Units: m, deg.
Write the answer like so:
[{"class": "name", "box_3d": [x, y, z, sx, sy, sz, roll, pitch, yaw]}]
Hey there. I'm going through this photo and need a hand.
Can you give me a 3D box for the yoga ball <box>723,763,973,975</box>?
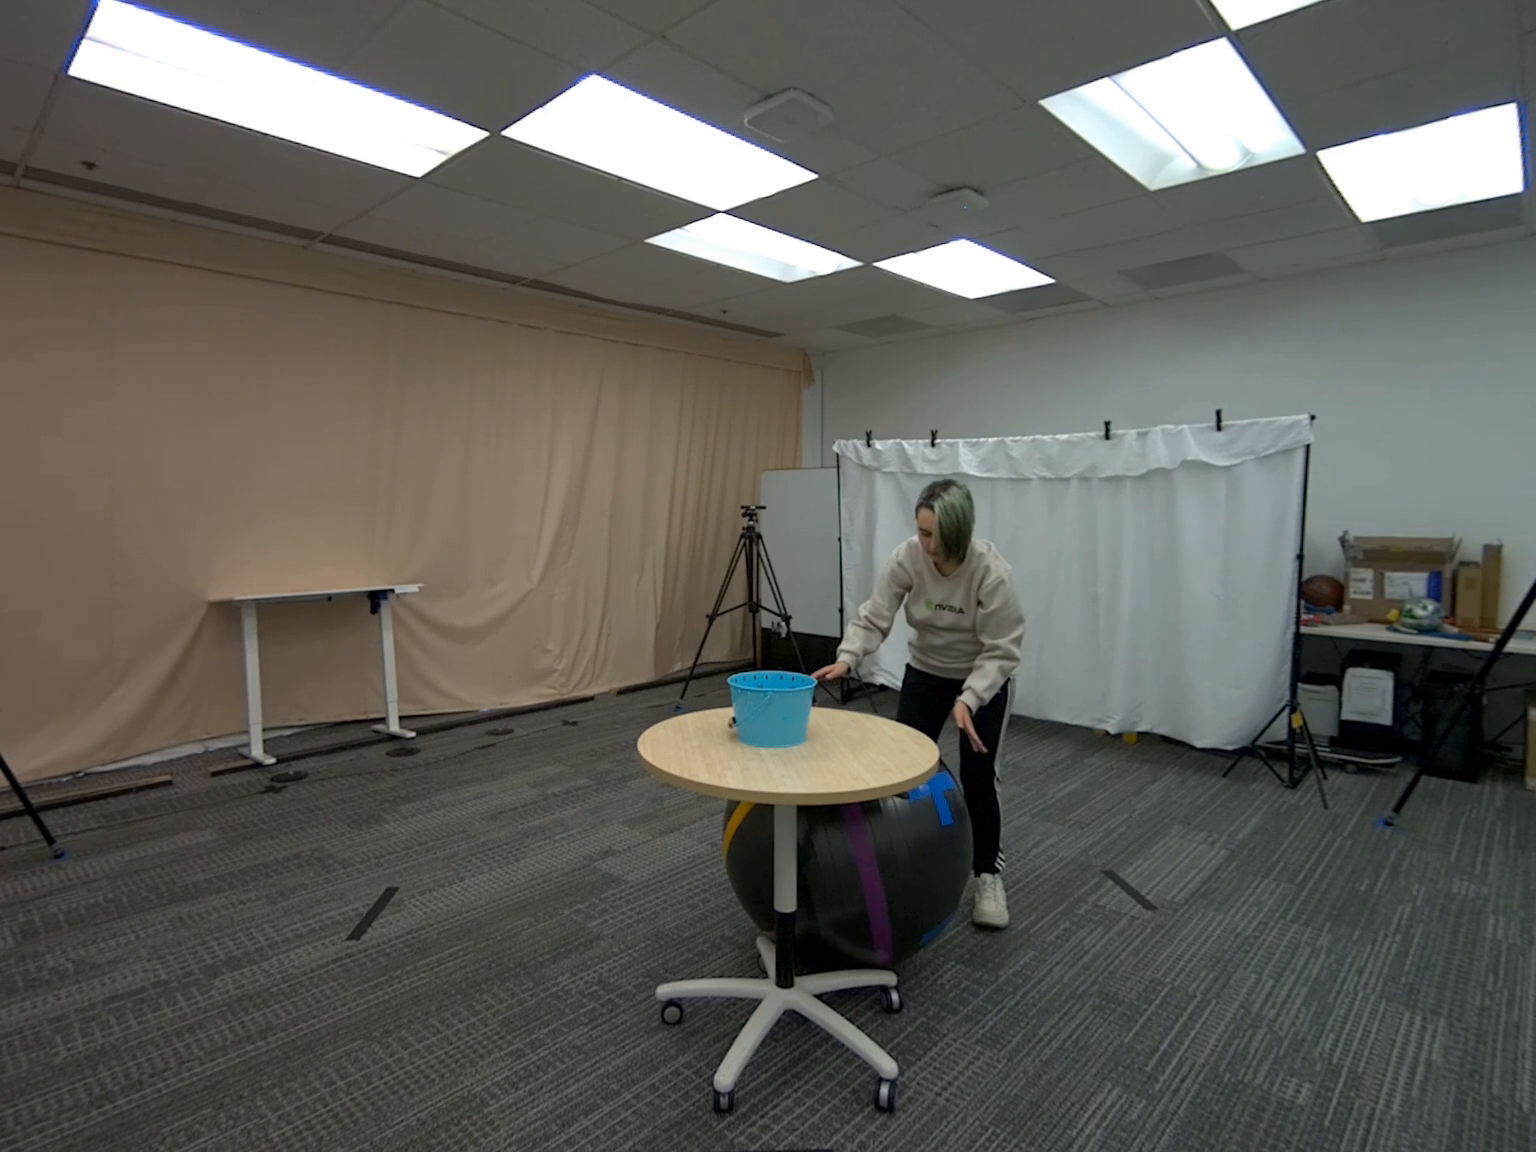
[{"class": "yoga ball", "box_3d": [0.233, 0.803, 2.600, 0.757, 0.756, 0.761, 0, 4, -2]}]
